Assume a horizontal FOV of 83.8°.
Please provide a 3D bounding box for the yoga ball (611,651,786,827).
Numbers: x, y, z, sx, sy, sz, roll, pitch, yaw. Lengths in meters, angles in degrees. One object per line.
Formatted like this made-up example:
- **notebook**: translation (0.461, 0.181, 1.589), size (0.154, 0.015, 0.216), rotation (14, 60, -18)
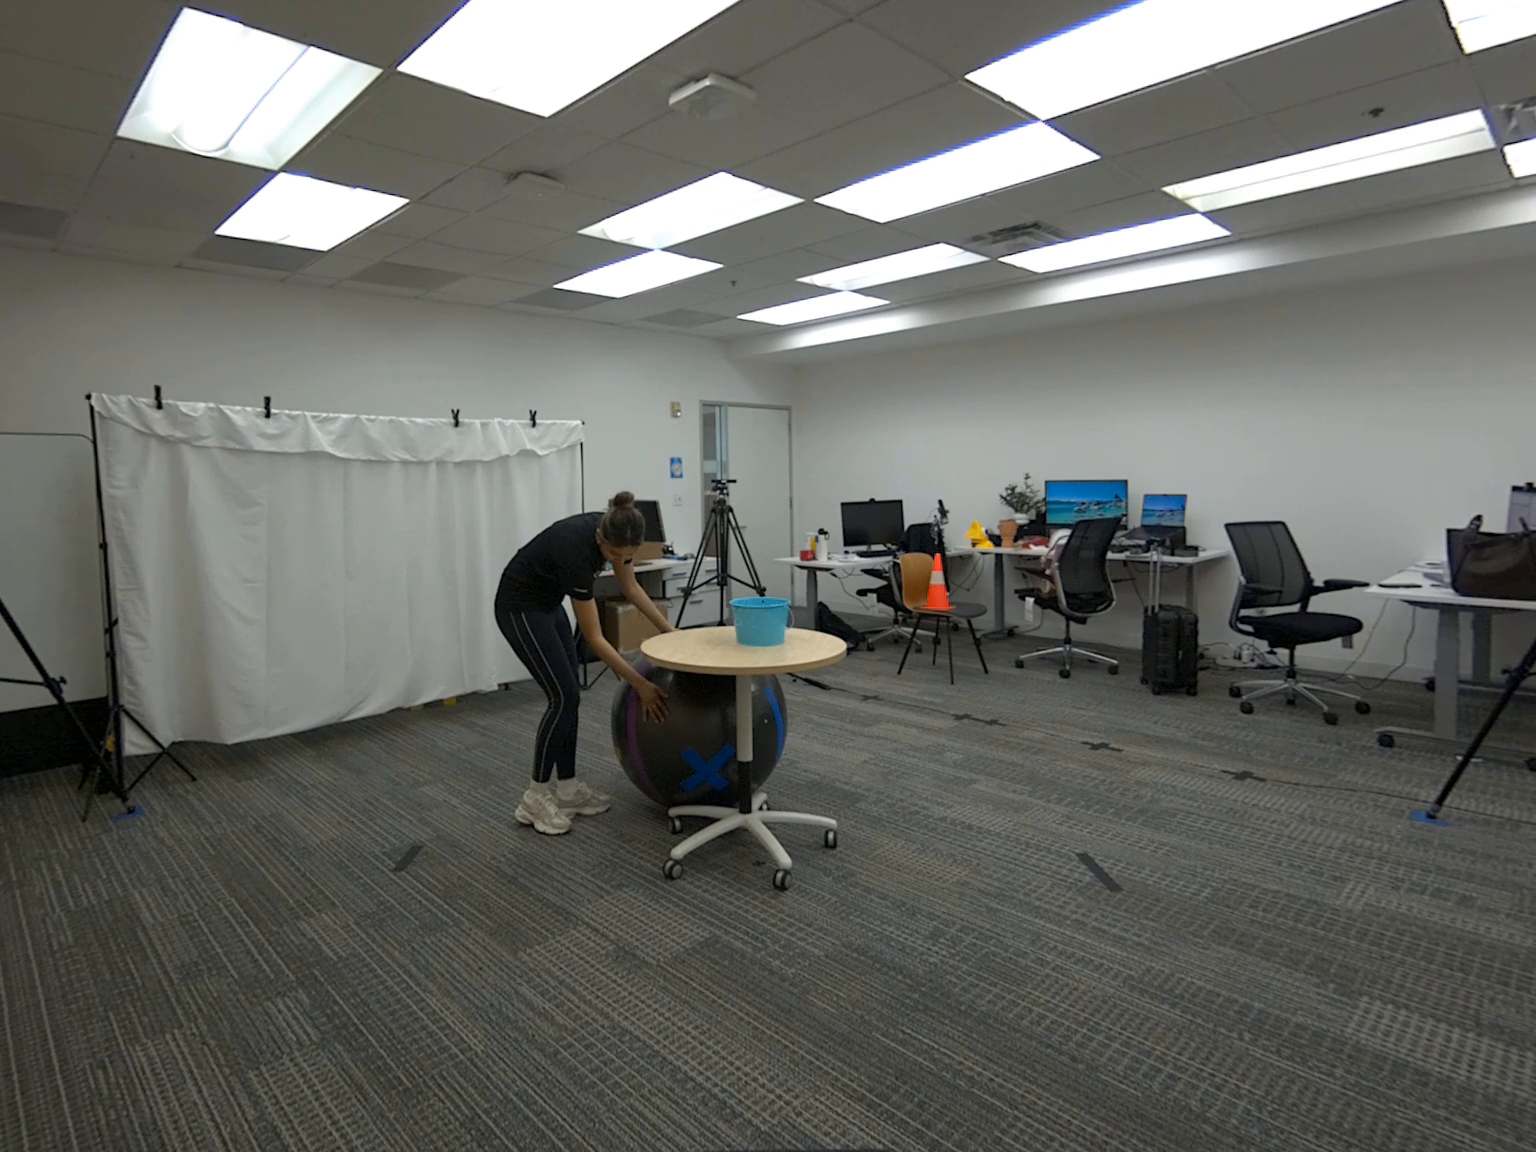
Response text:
- **yoga ball**: translation (-0.295, 0.624, 3.676), size (0.757, 0.755, 0.762), rotation (-1, 5, -2)
